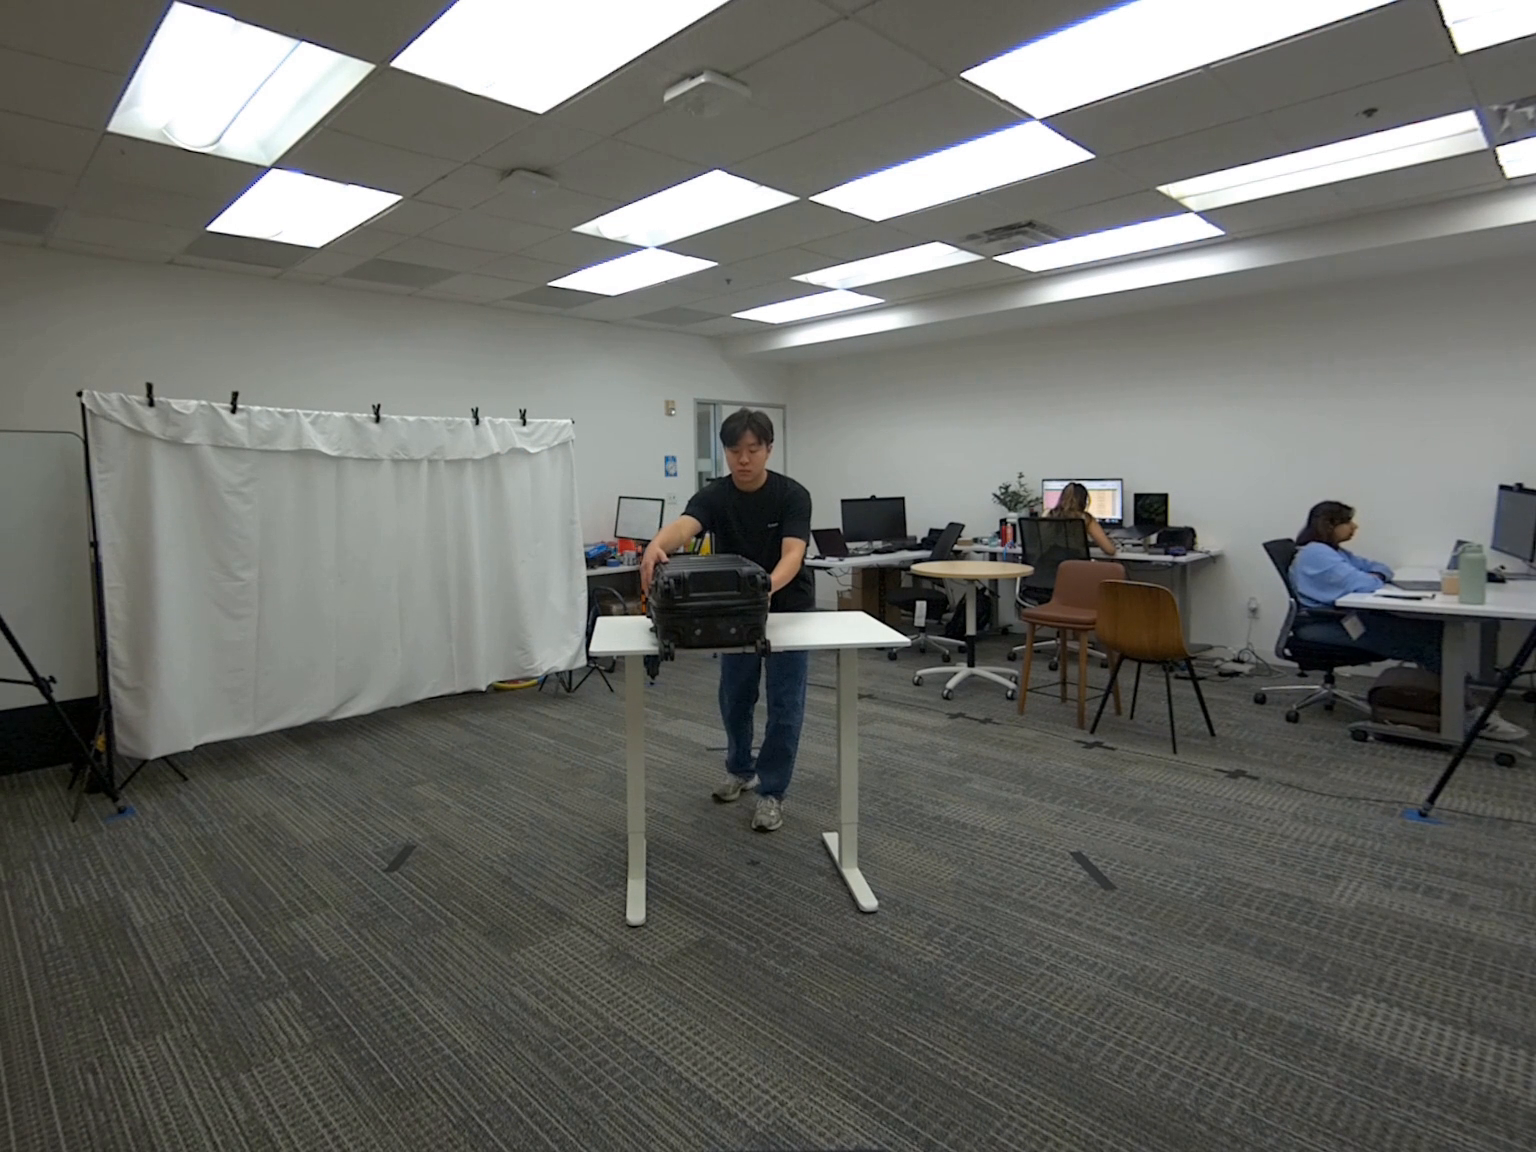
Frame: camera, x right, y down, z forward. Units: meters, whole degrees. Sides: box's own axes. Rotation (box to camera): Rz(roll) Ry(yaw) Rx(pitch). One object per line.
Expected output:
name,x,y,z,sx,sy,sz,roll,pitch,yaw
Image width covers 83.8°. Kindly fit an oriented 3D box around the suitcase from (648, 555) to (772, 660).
suitcase,-0.248,0.052,2.999,0.380,0.255,0.994,-2,8,-11
